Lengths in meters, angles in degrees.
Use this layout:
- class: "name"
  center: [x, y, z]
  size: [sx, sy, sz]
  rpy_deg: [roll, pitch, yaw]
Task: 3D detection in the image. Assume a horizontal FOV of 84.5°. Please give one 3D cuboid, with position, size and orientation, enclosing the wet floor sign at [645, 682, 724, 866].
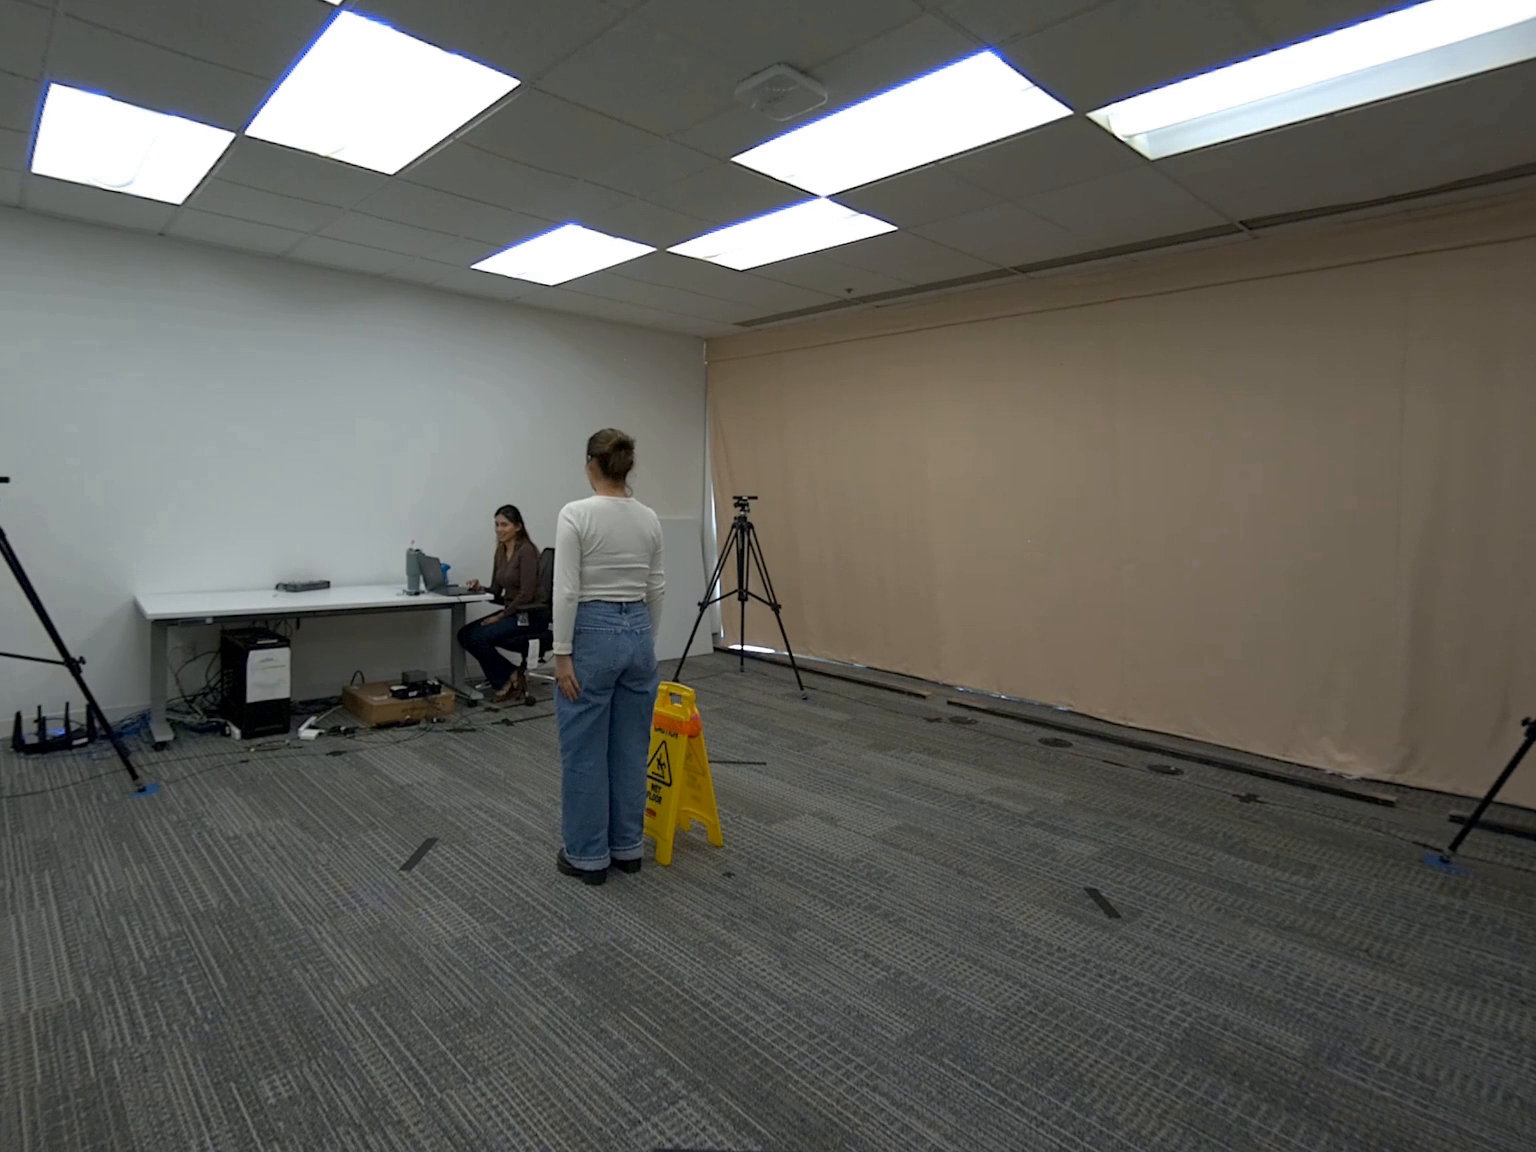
- class: "wet floor sign"
  center: [-0.373, 0.752, 3.344]
  size: [0.283, 0.645, 0.289]
  rpy_deg: [-1, 4, -44]
